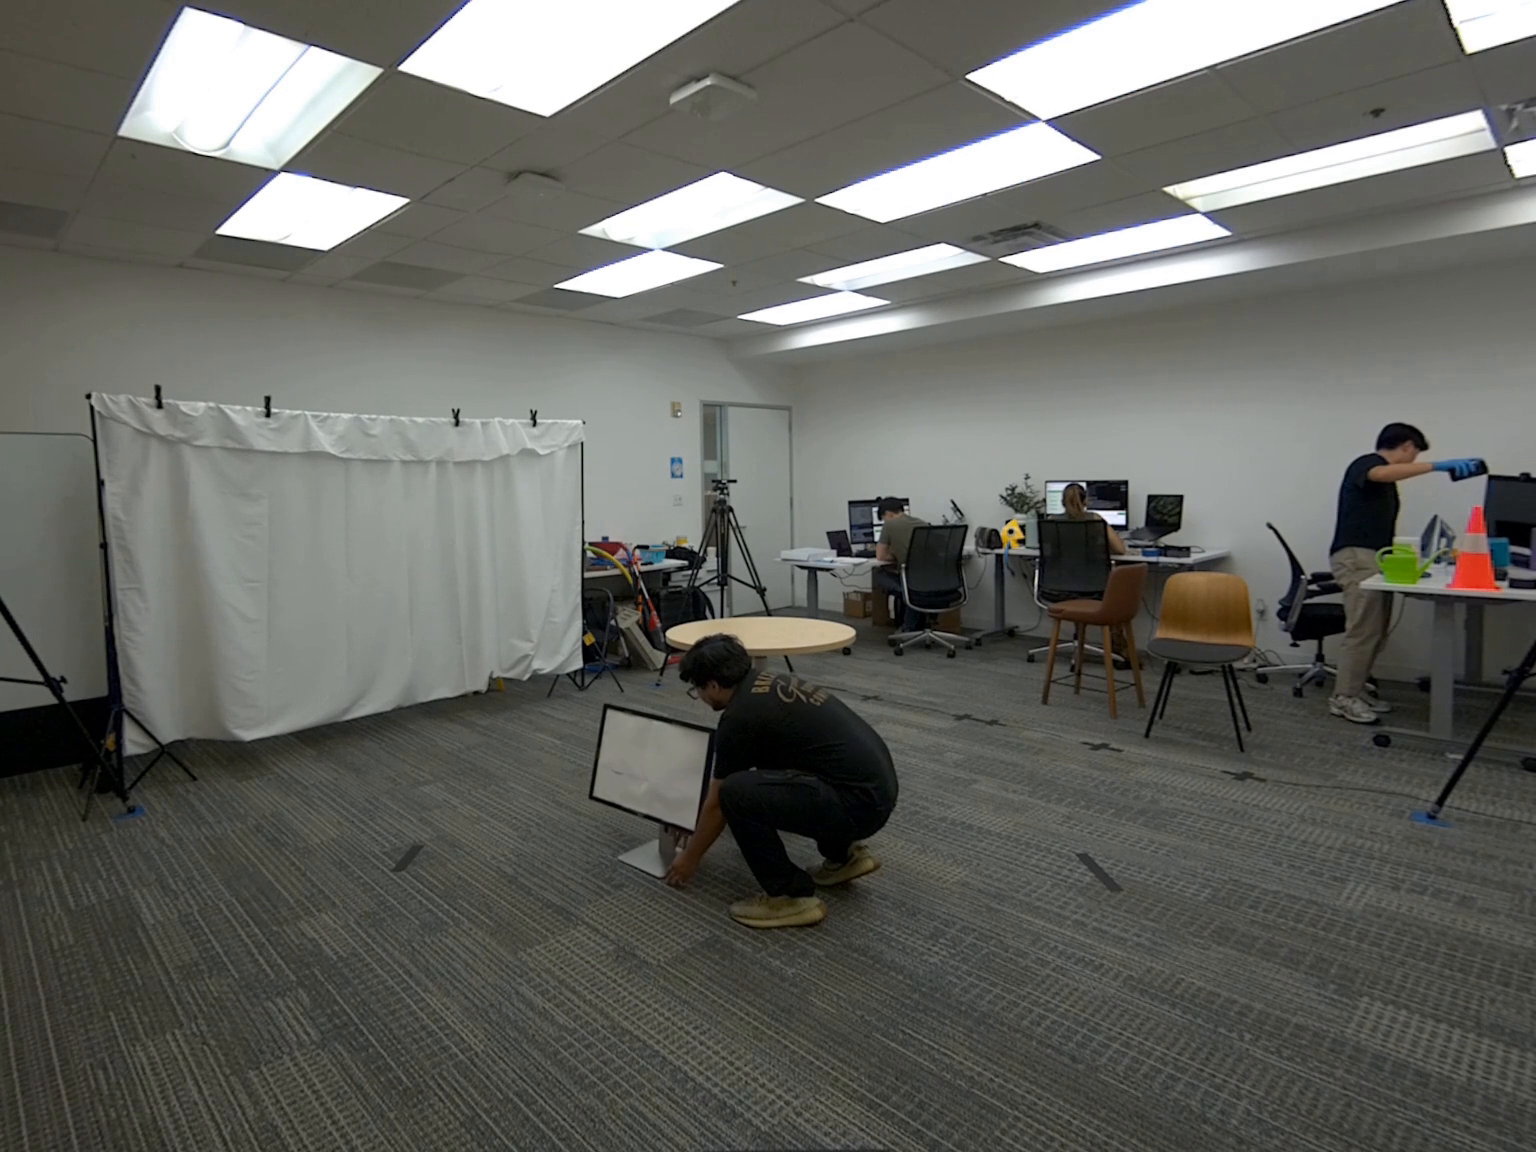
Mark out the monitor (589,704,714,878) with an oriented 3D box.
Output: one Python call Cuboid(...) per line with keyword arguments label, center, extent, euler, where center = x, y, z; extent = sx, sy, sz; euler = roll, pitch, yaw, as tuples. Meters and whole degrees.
Cuboid(label="monitor", center=(-0.389, 0.782, 3.150), extent=(0.582, 0.555, 0.203), euler=(3, -2, 39))
